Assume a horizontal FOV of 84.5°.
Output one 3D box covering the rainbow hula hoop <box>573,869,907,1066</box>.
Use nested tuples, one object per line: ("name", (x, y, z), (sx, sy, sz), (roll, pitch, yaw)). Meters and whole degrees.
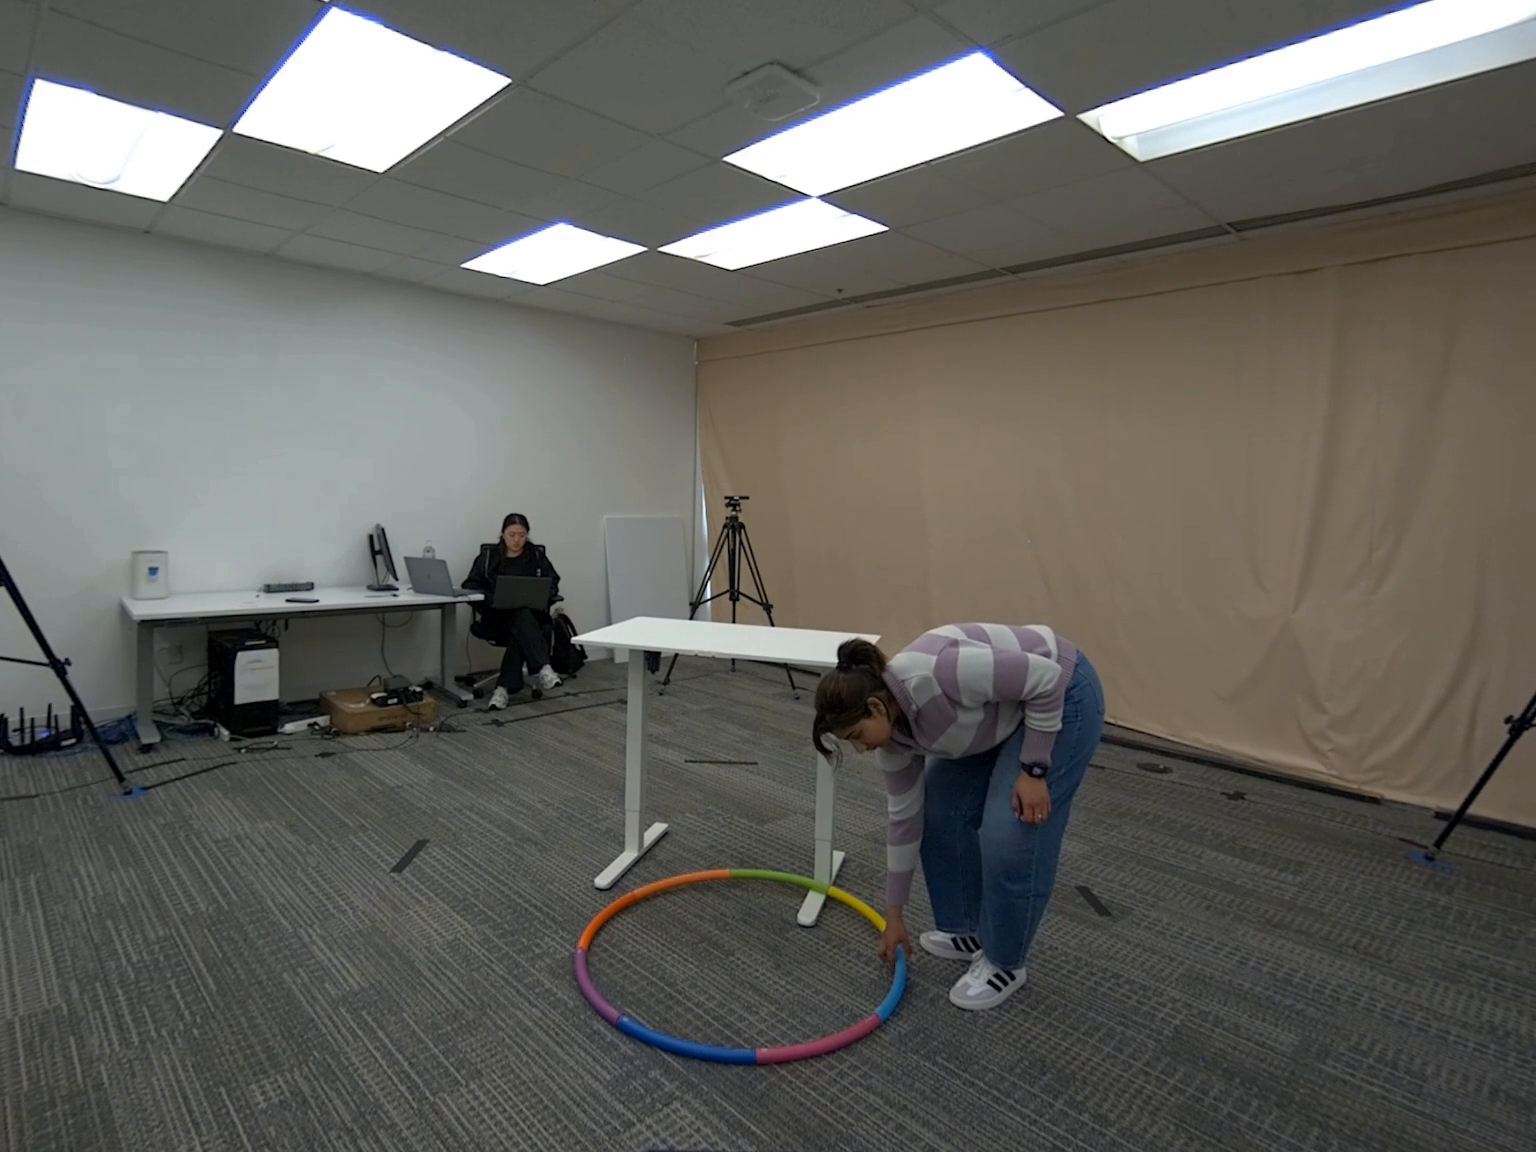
("rainbow hula hoop", (-0.092, 1.125, 2.541), (0.978, 0.035, 0.983), (0, 7, -1))
